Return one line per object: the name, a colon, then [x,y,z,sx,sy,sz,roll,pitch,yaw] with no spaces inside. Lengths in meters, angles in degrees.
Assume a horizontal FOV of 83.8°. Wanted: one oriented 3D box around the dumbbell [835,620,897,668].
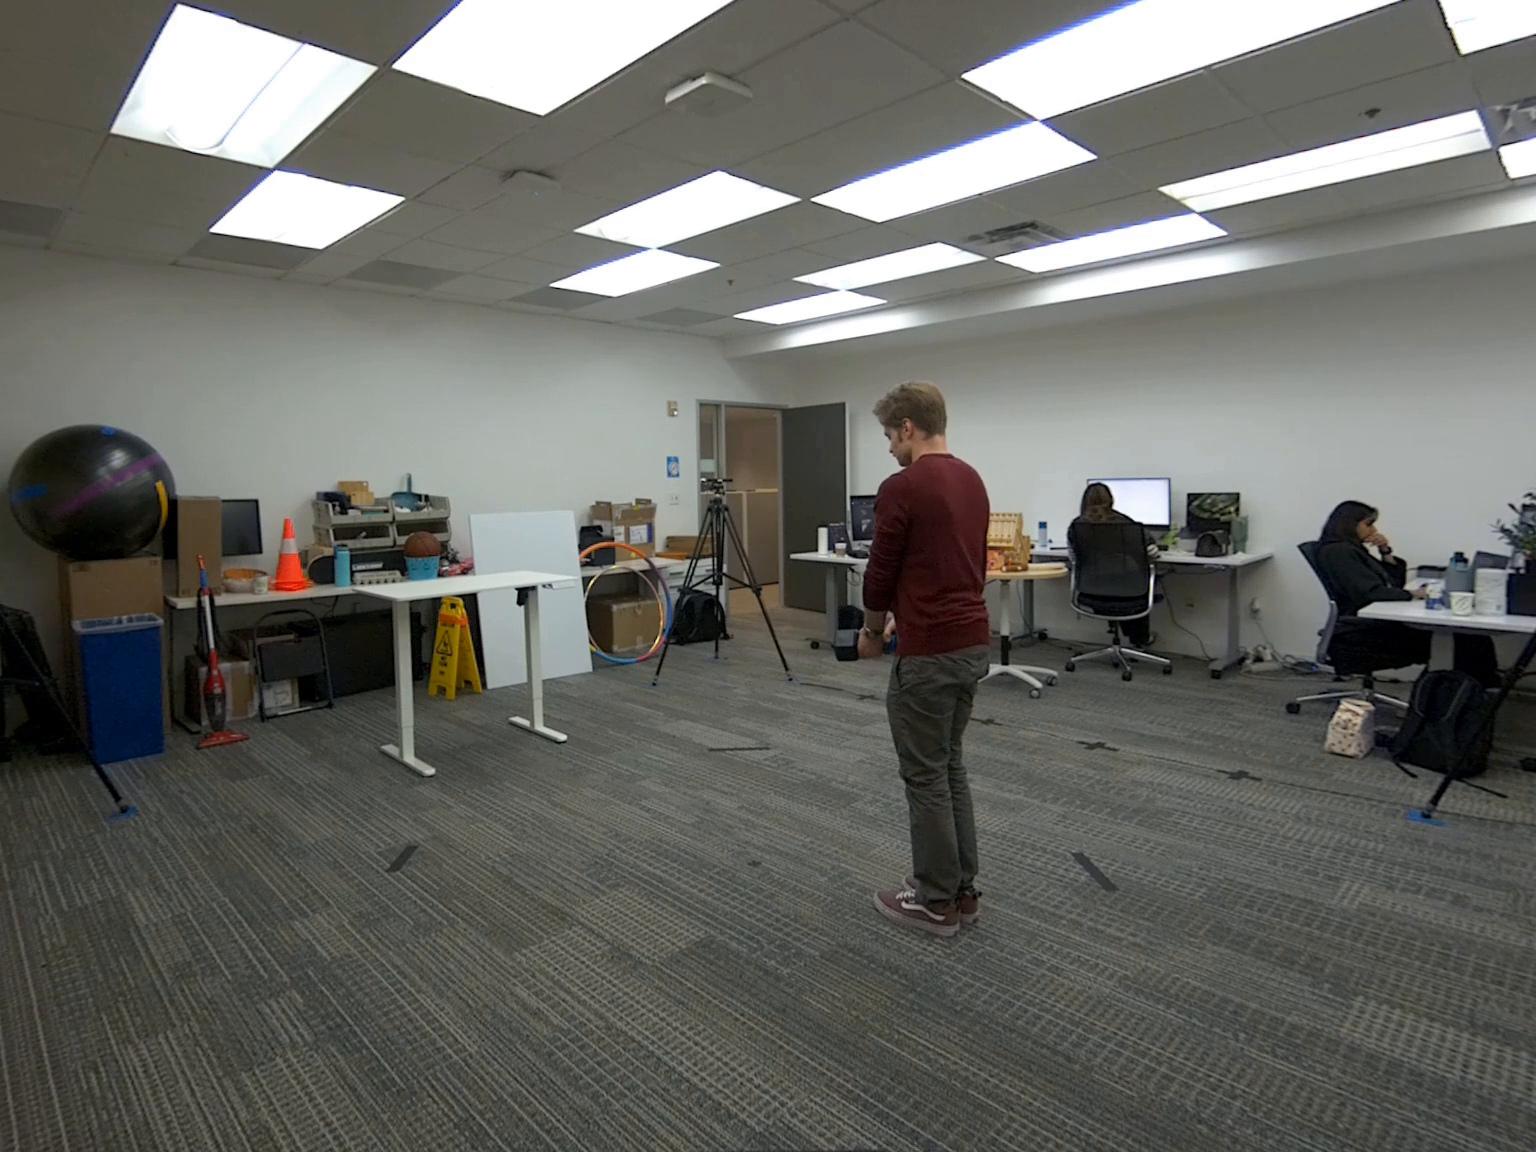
dumbbell: [0.392,0.230,2.923,0.299,0.125,0.104,-3,-36,22]
